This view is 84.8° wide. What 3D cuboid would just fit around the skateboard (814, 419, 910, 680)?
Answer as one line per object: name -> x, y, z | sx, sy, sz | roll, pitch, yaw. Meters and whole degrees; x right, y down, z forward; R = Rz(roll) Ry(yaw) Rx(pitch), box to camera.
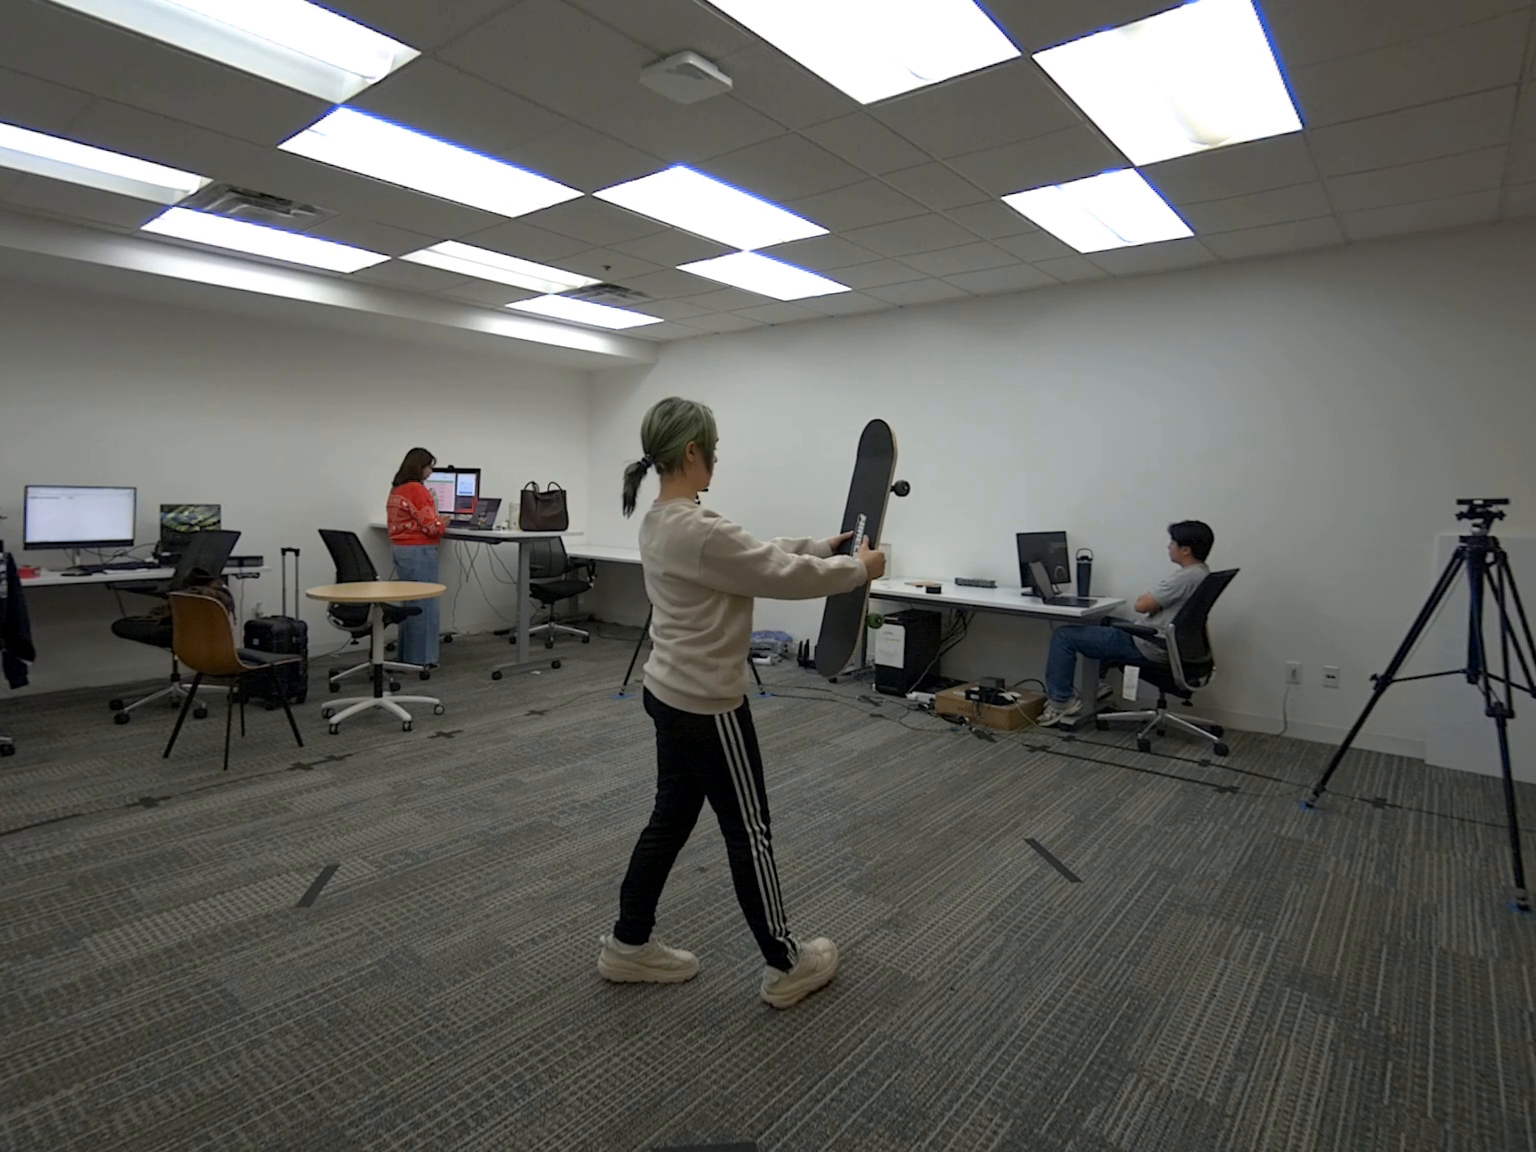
skateboard -> 0.291, -0.081, 2.557 | 0.107, 0.787, 0.199 | 13, -3, -31
